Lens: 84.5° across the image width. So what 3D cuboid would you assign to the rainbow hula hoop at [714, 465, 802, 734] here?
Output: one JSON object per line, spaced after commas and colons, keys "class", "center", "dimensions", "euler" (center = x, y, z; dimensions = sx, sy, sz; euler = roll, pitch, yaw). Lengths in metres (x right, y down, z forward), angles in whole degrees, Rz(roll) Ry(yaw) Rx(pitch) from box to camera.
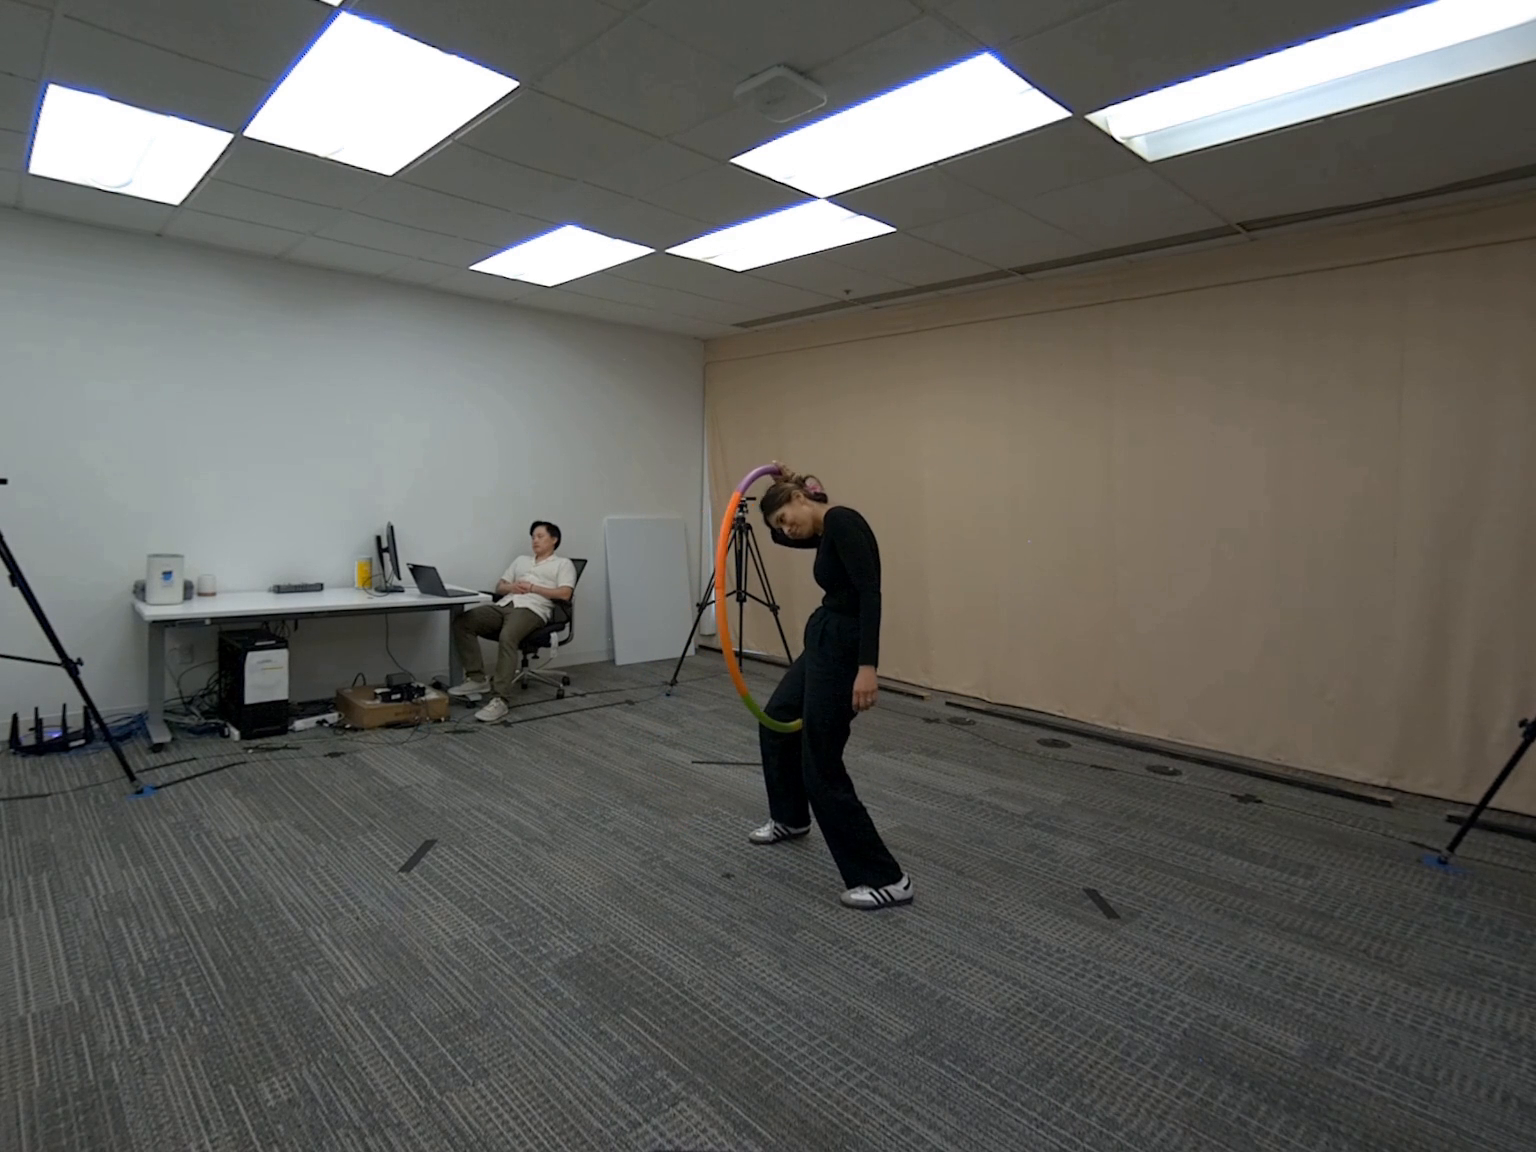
{"class": "rainbow hula hoop", "center": [0.064, 0.075, 3.163], "dimensions": [0.036, 0.979, 0.960], "euler": [-6, 0, 29]}
